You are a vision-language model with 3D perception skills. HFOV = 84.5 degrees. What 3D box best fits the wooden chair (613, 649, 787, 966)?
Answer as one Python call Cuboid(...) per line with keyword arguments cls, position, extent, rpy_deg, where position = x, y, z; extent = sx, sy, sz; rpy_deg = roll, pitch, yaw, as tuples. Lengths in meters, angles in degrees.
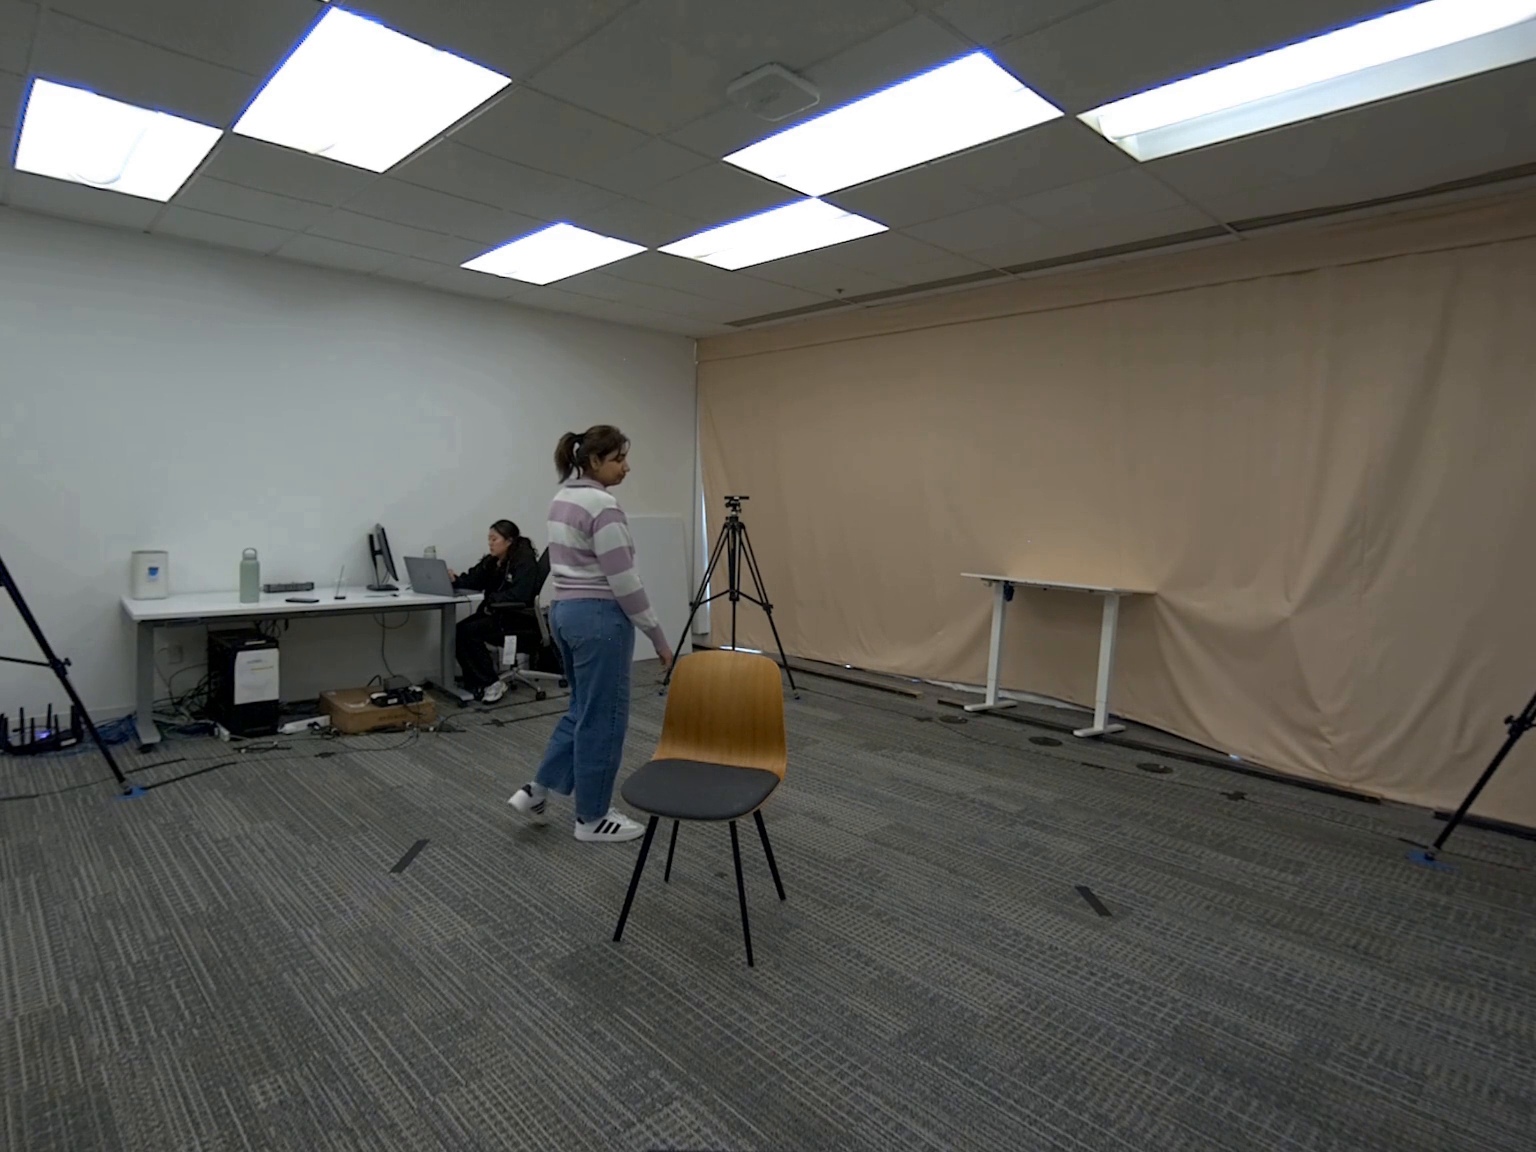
Cuboid(cls="wooden chair", position=(-0.206, 0.710, 2.732), extent=(0.484, 0.877, 0.516), rpy_deg=(2, 0, 16))
